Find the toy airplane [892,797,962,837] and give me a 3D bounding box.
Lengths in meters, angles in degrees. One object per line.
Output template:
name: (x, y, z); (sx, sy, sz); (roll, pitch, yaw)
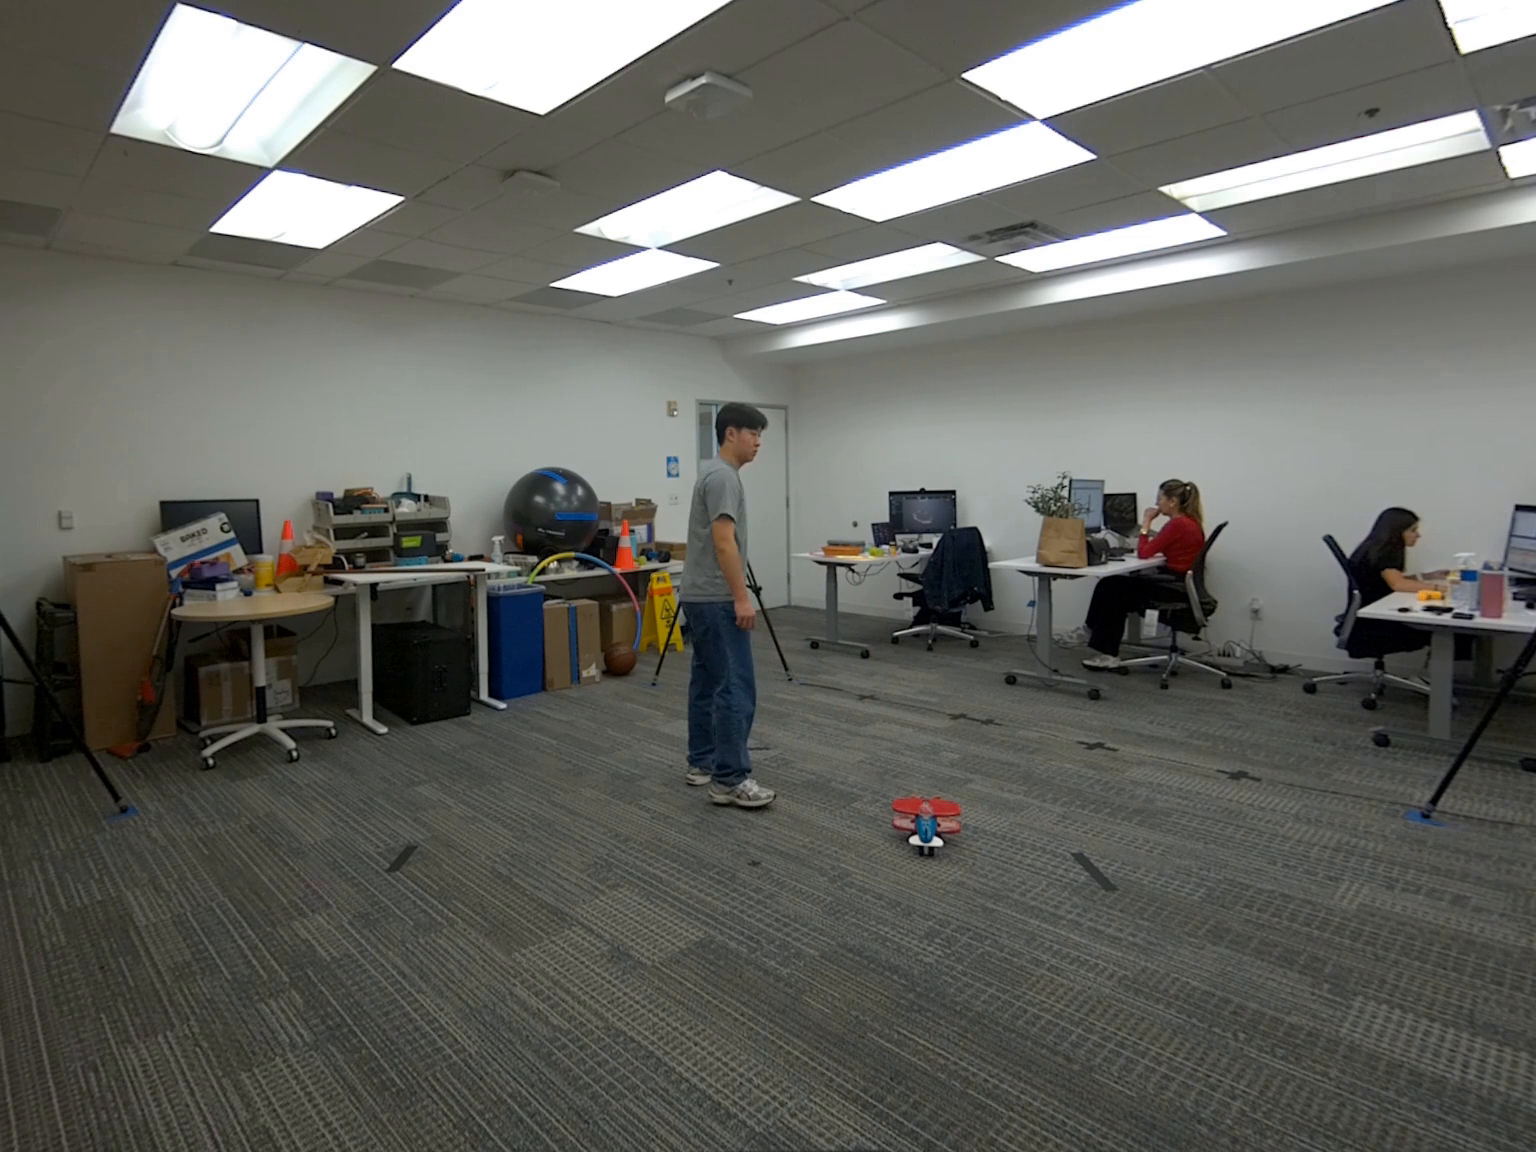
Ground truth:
toy airplane: (0.619, 0.945, 3.232); (0.247, 0.156, 0.264); (-2, 5, -17)
